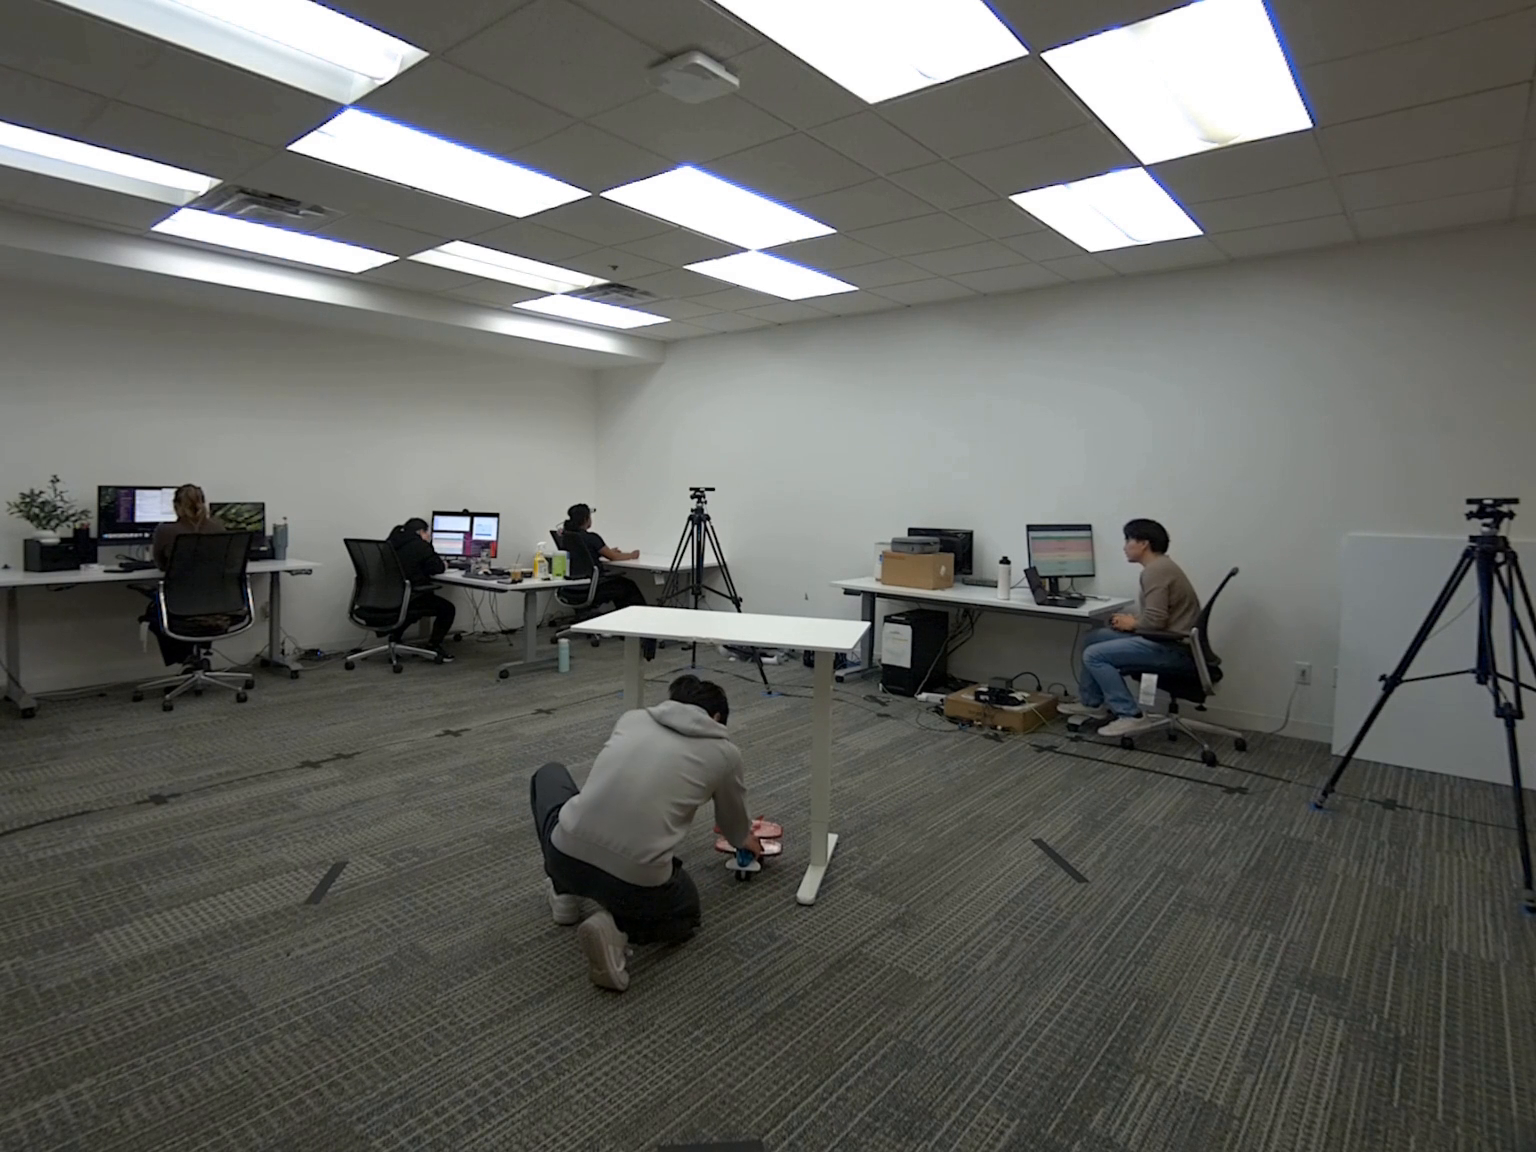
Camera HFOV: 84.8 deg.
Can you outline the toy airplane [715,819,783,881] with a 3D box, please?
[{"bbox_3d":[-0.063,0.996,3.114,0.246,0.156,0.265,-3,4,-23],"label":"toy airplane"}]
